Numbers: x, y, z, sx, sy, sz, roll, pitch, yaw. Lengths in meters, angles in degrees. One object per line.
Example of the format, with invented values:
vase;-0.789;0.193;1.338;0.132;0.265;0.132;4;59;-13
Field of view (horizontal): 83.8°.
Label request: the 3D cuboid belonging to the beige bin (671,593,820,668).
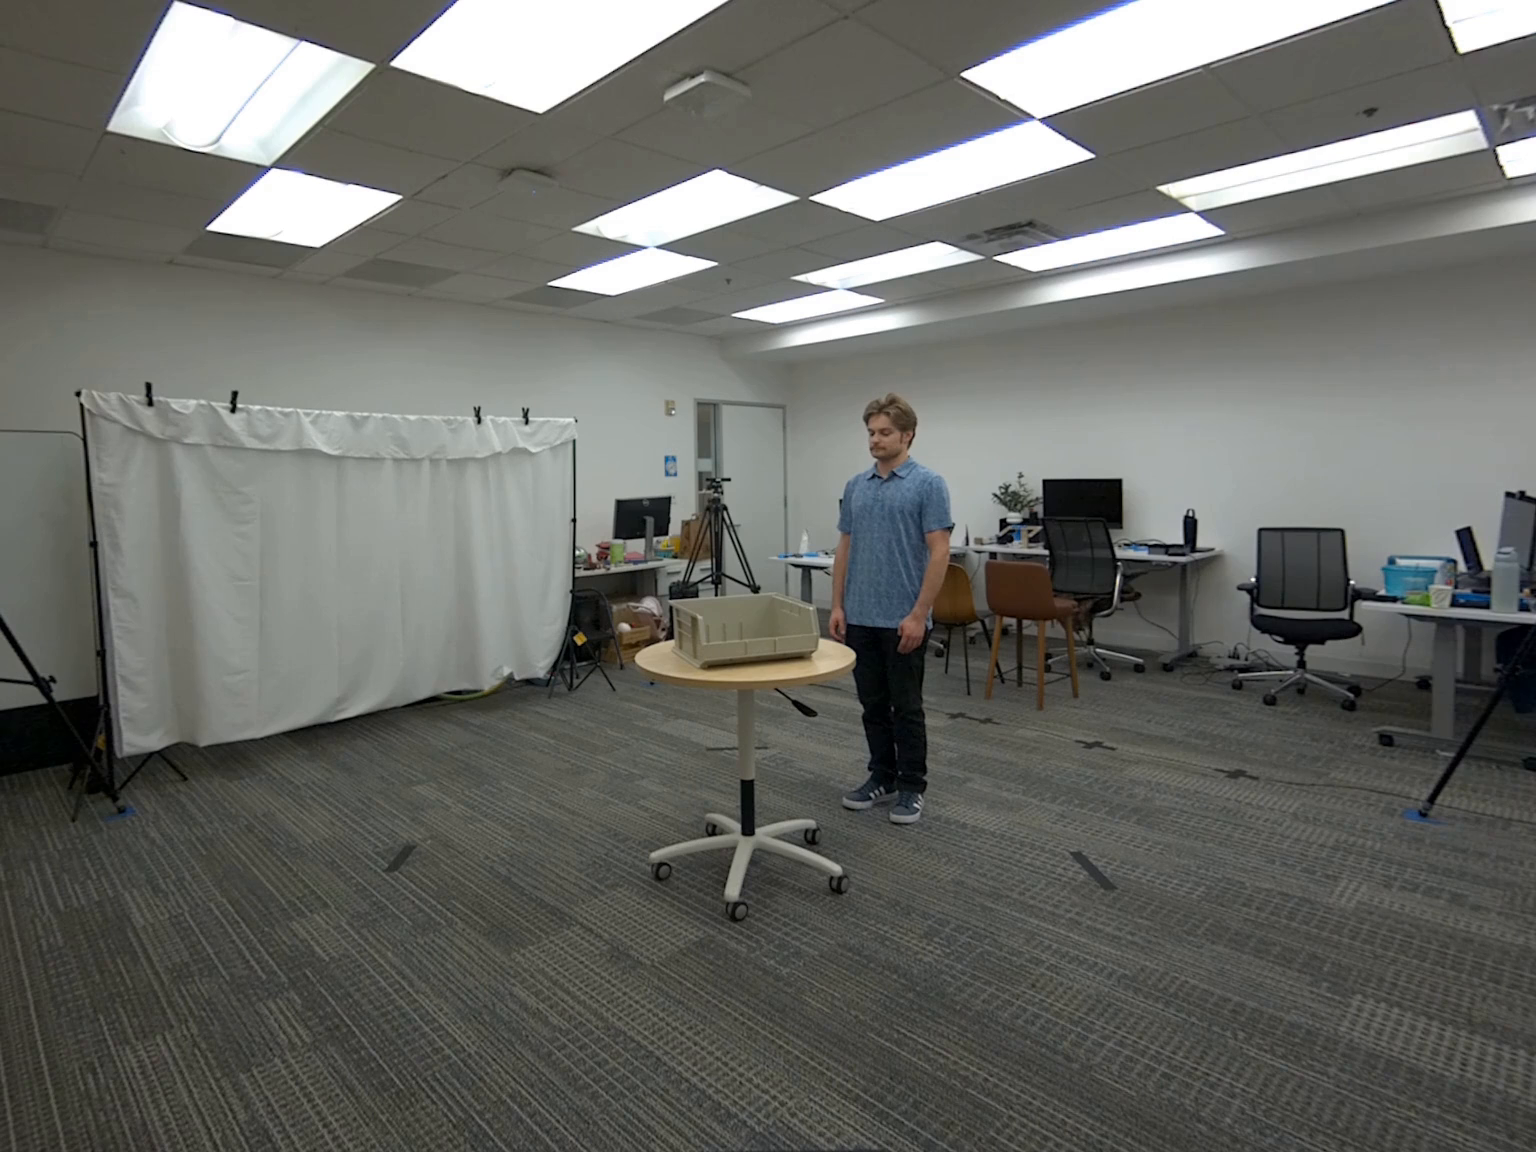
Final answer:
beige bin;-0.089;0.187;2.955;0.415;0.188;0.385;-3;6;-20
